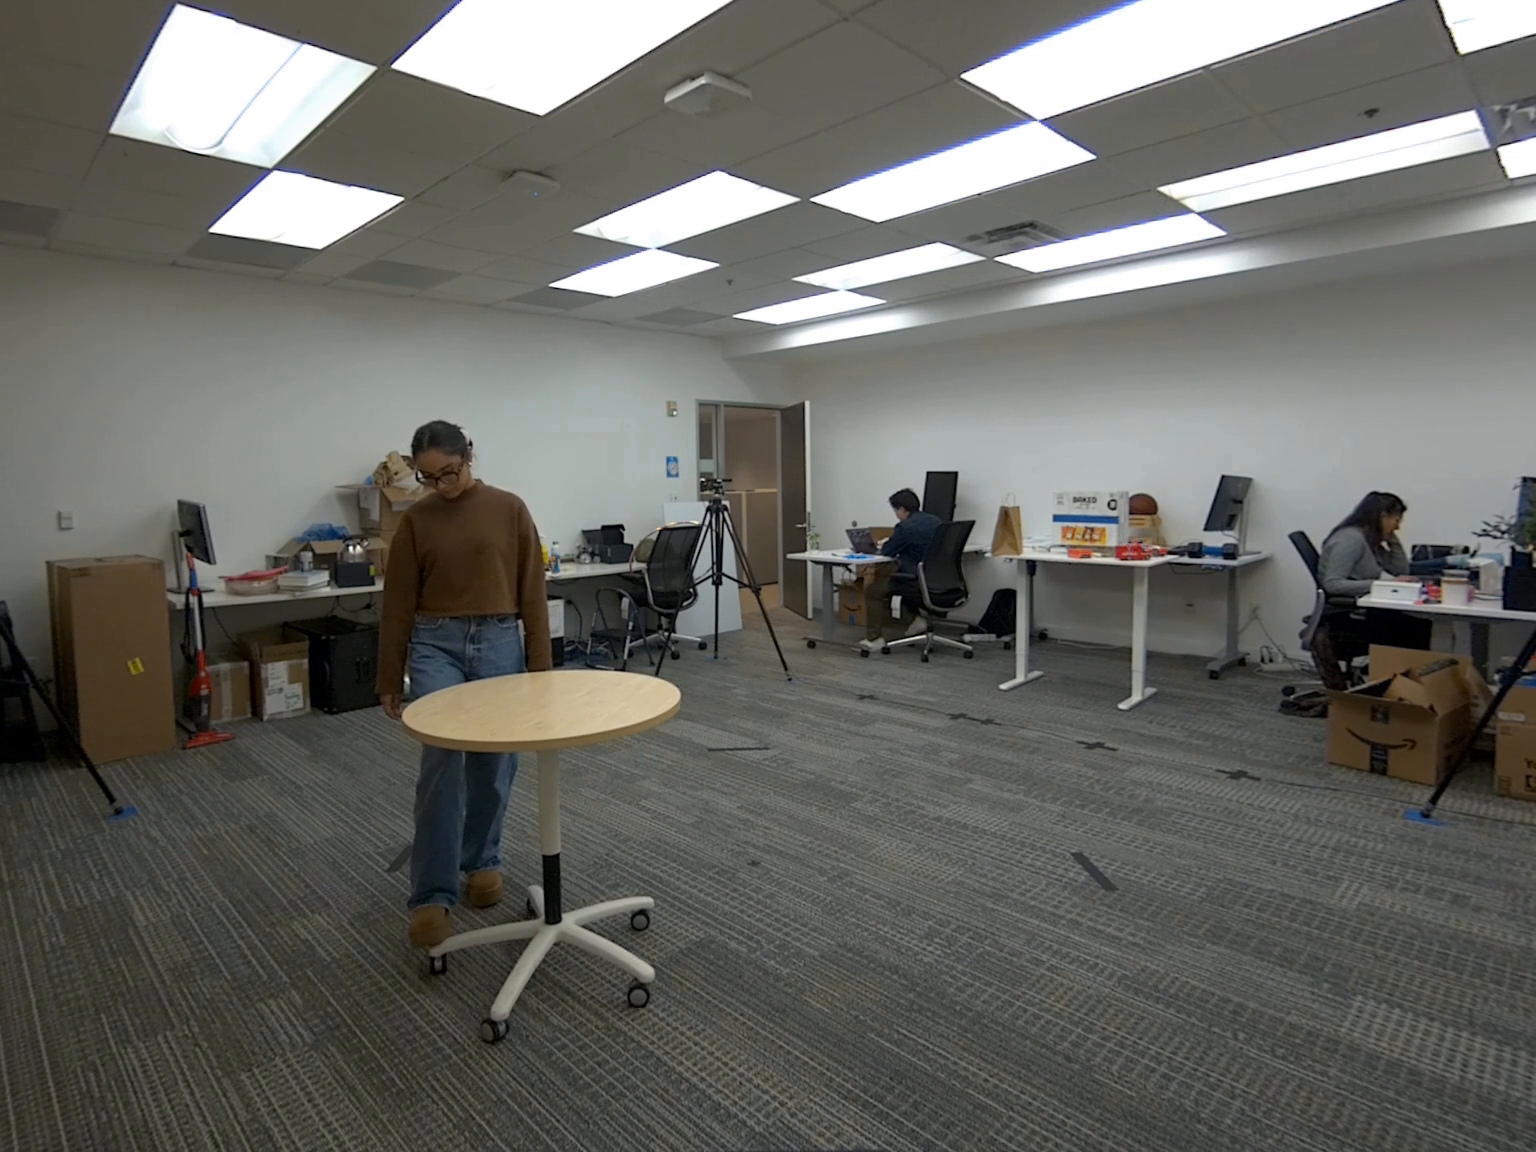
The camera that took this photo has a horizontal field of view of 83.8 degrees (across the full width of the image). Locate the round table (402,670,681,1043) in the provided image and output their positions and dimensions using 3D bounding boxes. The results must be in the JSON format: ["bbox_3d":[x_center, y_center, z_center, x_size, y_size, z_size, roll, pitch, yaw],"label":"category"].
[{"bbox_3d":[-0.613,0.747,2.433,0.763,0.791,0.768,-1,5,-2],"label":"round table"}]
